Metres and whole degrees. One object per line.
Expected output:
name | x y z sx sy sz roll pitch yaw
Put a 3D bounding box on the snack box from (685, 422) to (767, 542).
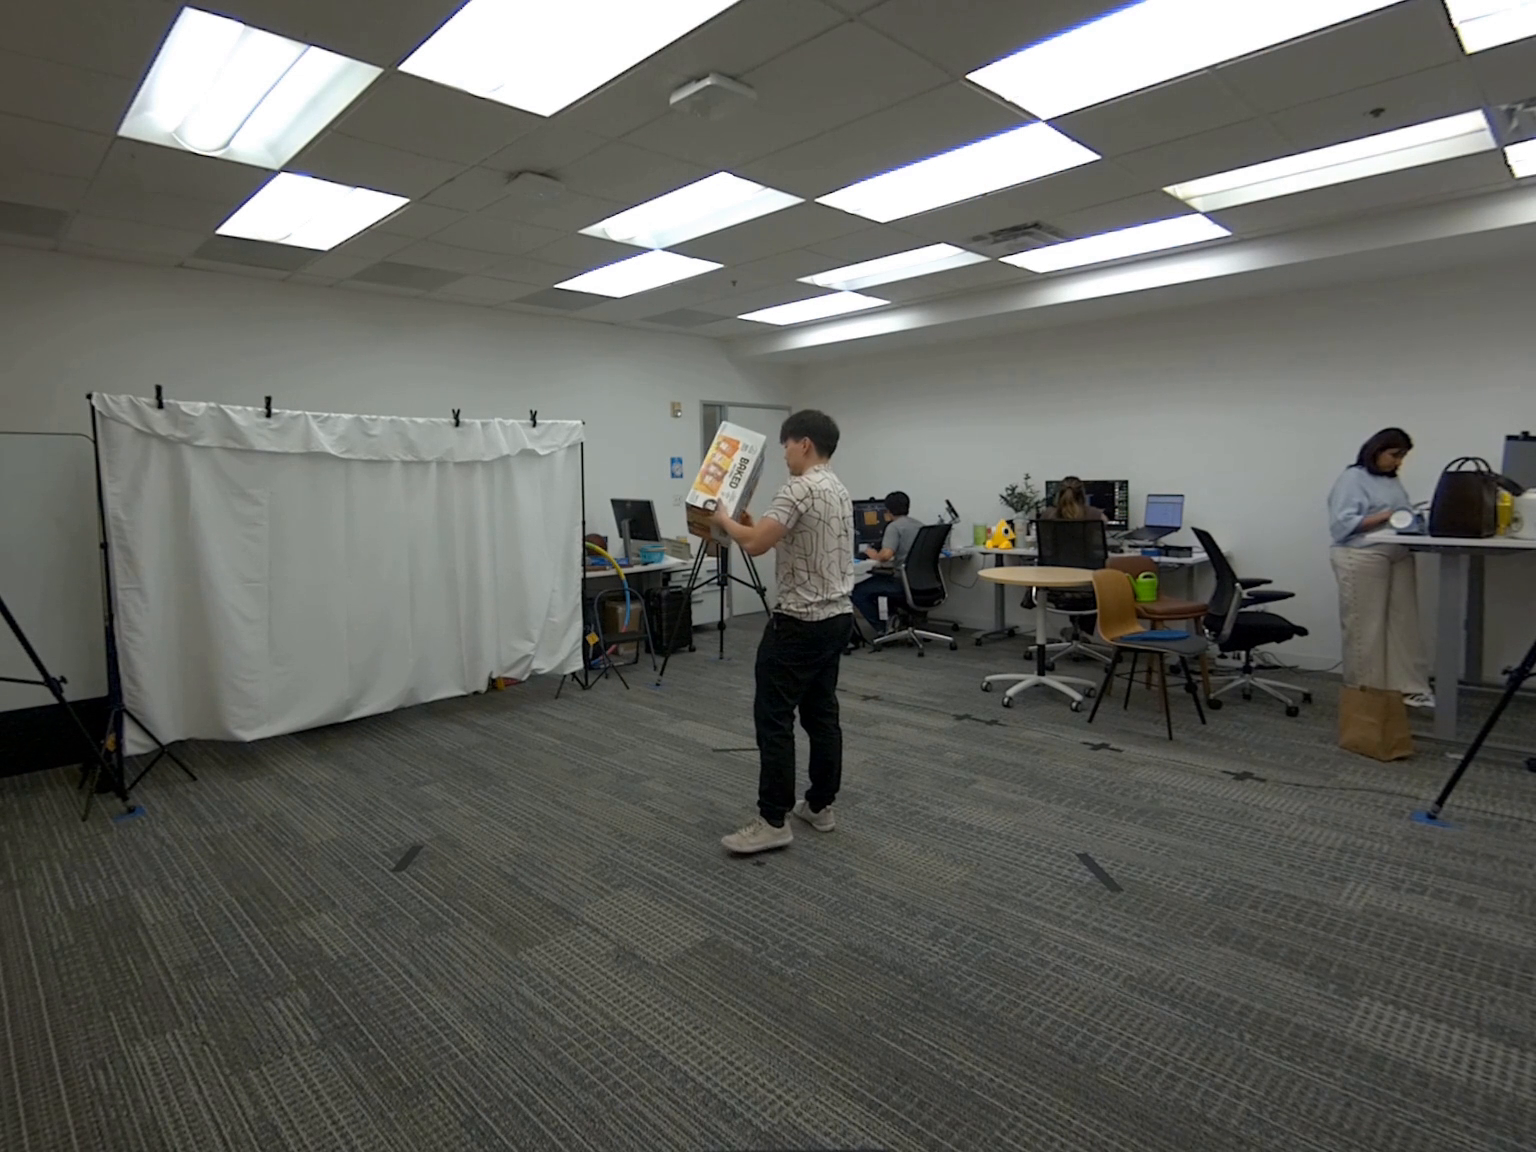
snack box | -0.177 -0.390 3.687 0.207 0.409 0.335 20 -19 4
